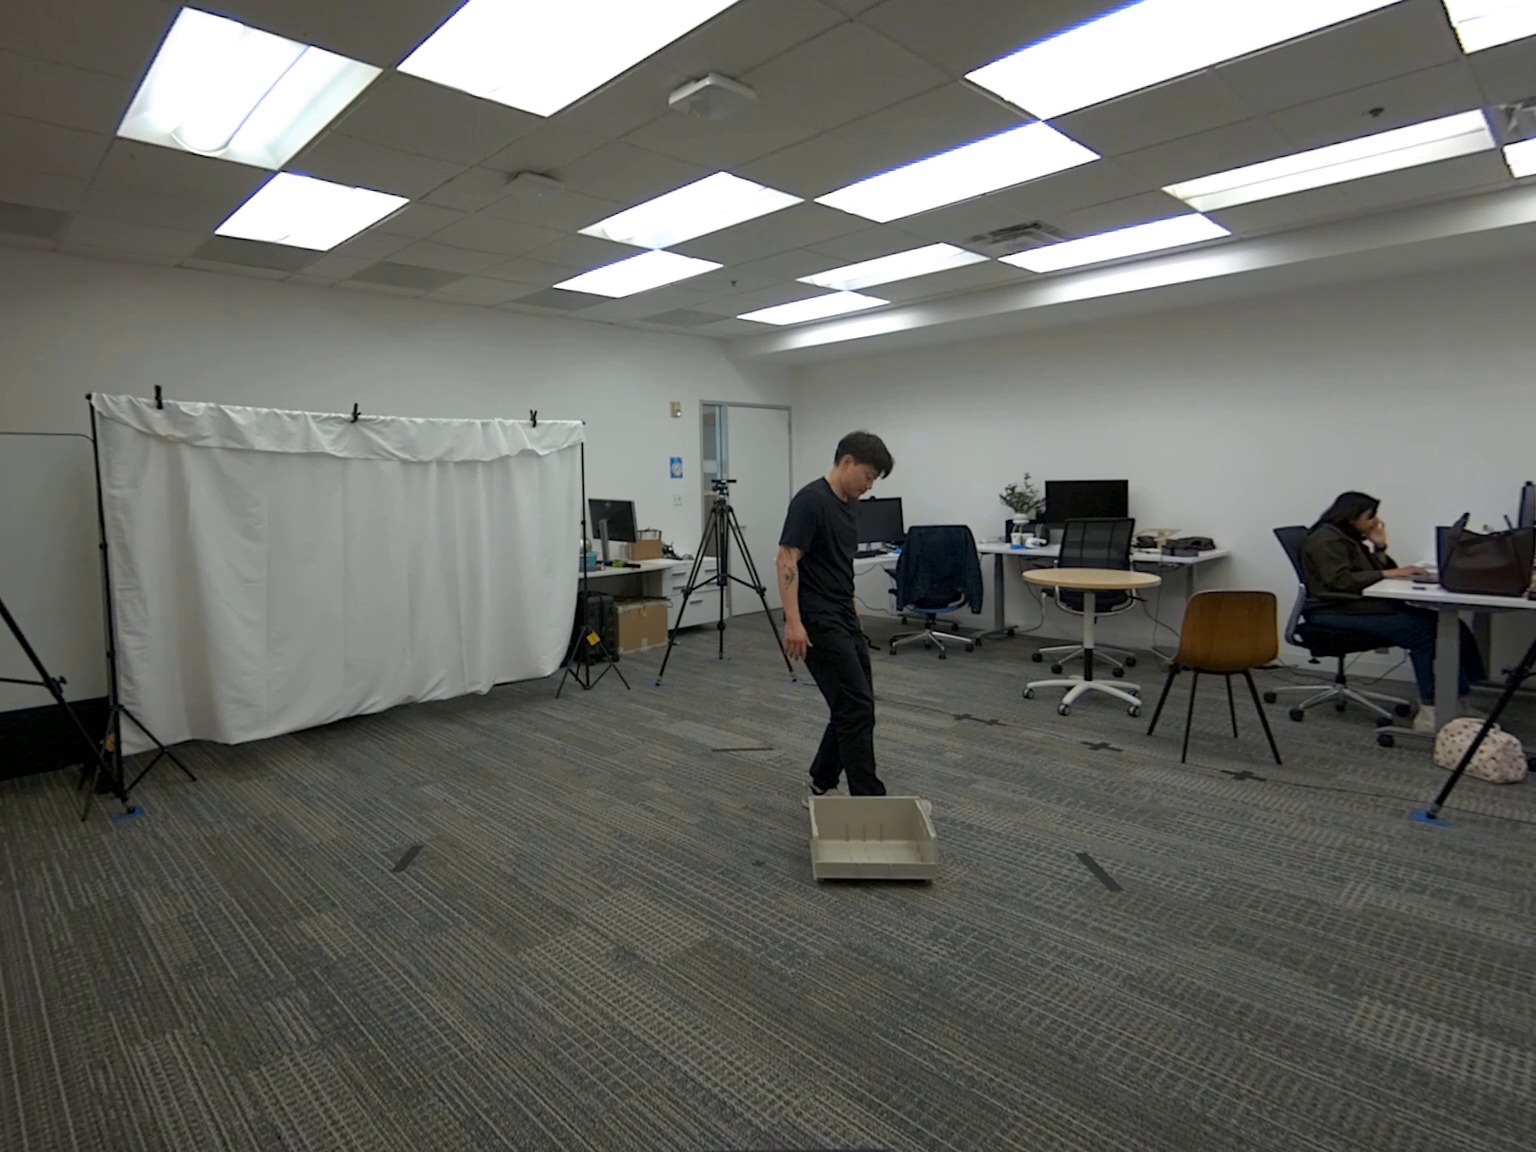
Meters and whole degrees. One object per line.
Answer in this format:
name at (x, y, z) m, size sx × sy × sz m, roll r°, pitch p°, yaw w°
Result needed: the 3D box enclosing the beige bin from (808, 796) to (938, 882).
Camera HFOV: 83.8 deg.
beige bin at (0.370, 0.957, 3.082) m, size 0.423 × 0.188 × 0.378 m, roll -2°, pitch 5°, yaw 2°
